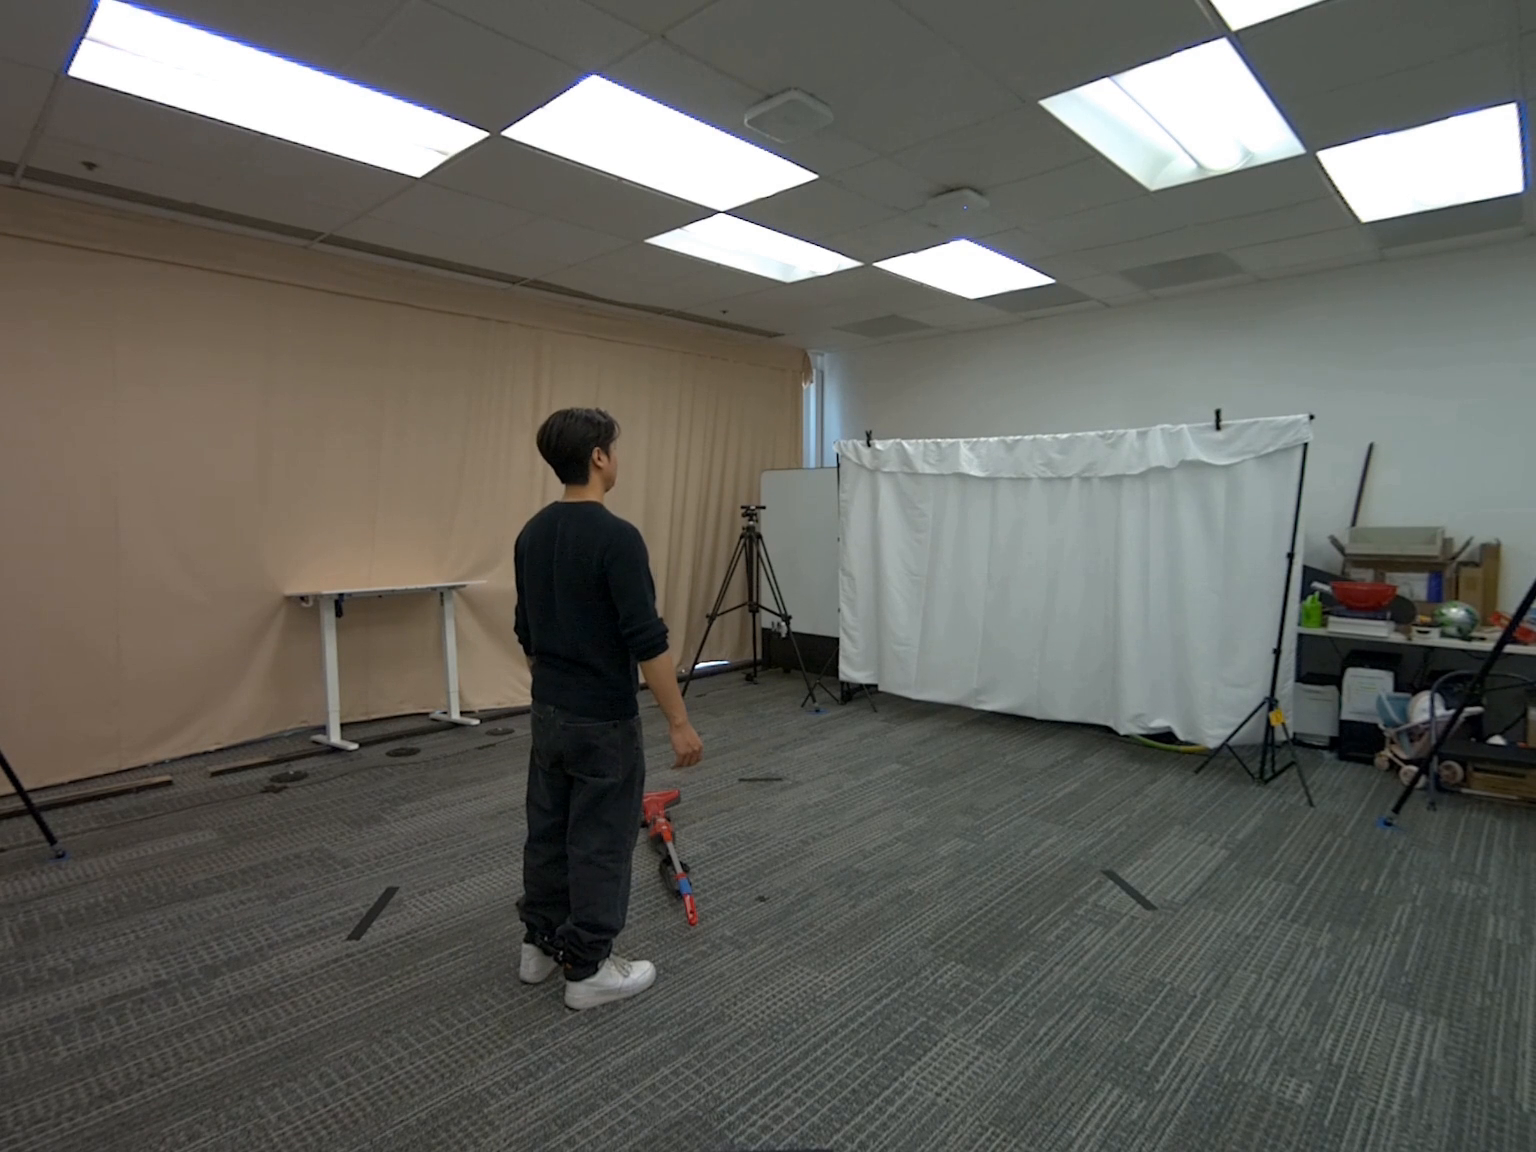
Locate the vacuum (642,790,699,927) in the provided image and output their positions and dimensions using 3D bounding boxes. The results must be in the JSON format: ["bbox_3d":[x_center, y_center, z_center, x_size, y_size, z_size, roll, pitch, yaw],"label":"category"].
[{"bbox_3d":[-0.370,1.066,3.197,0.249,0.143,1.067,-6,7,-14],"label":"vacuum"}]
